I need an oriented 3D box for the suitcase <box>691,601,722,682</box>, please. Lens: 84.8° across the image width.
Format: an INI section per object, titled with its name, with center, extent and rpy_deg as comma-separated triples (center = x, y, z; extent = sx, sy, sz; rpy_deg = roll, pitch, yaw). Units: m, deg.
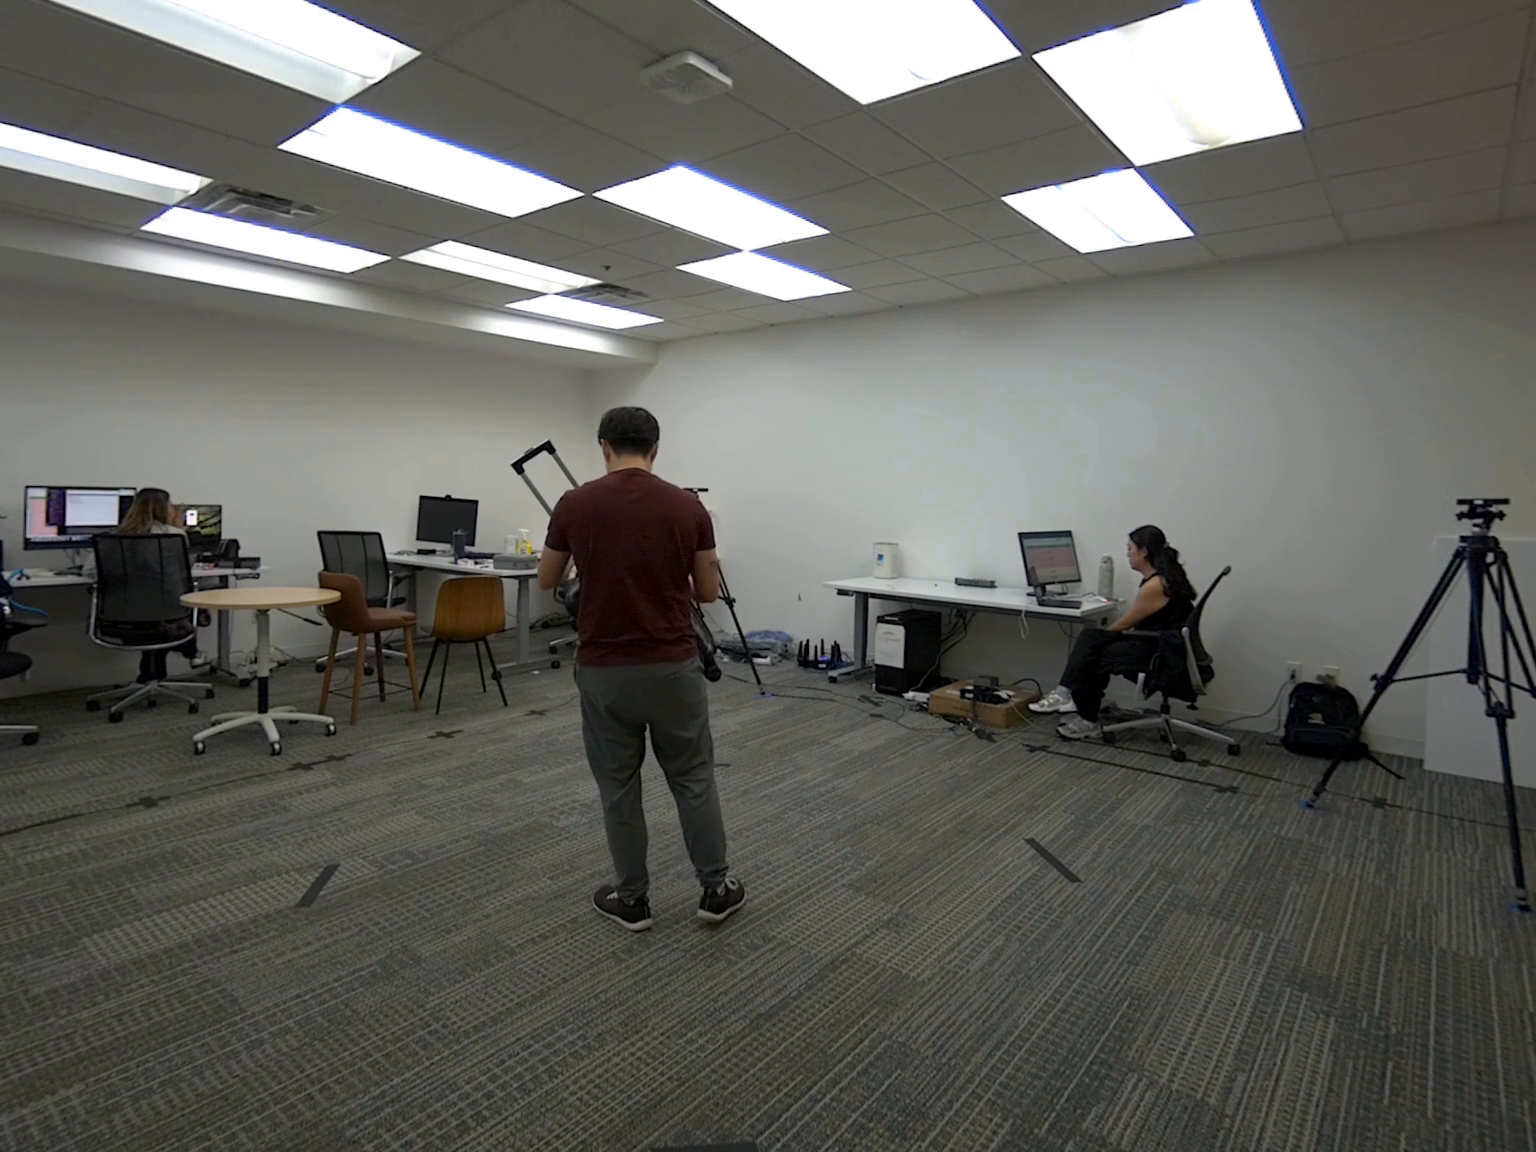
[suitcase]
center = -0.553, 0.002, 2.923
extent = 0.385, 0.957, 0.262
rpy_deg = -31, 17, 5
